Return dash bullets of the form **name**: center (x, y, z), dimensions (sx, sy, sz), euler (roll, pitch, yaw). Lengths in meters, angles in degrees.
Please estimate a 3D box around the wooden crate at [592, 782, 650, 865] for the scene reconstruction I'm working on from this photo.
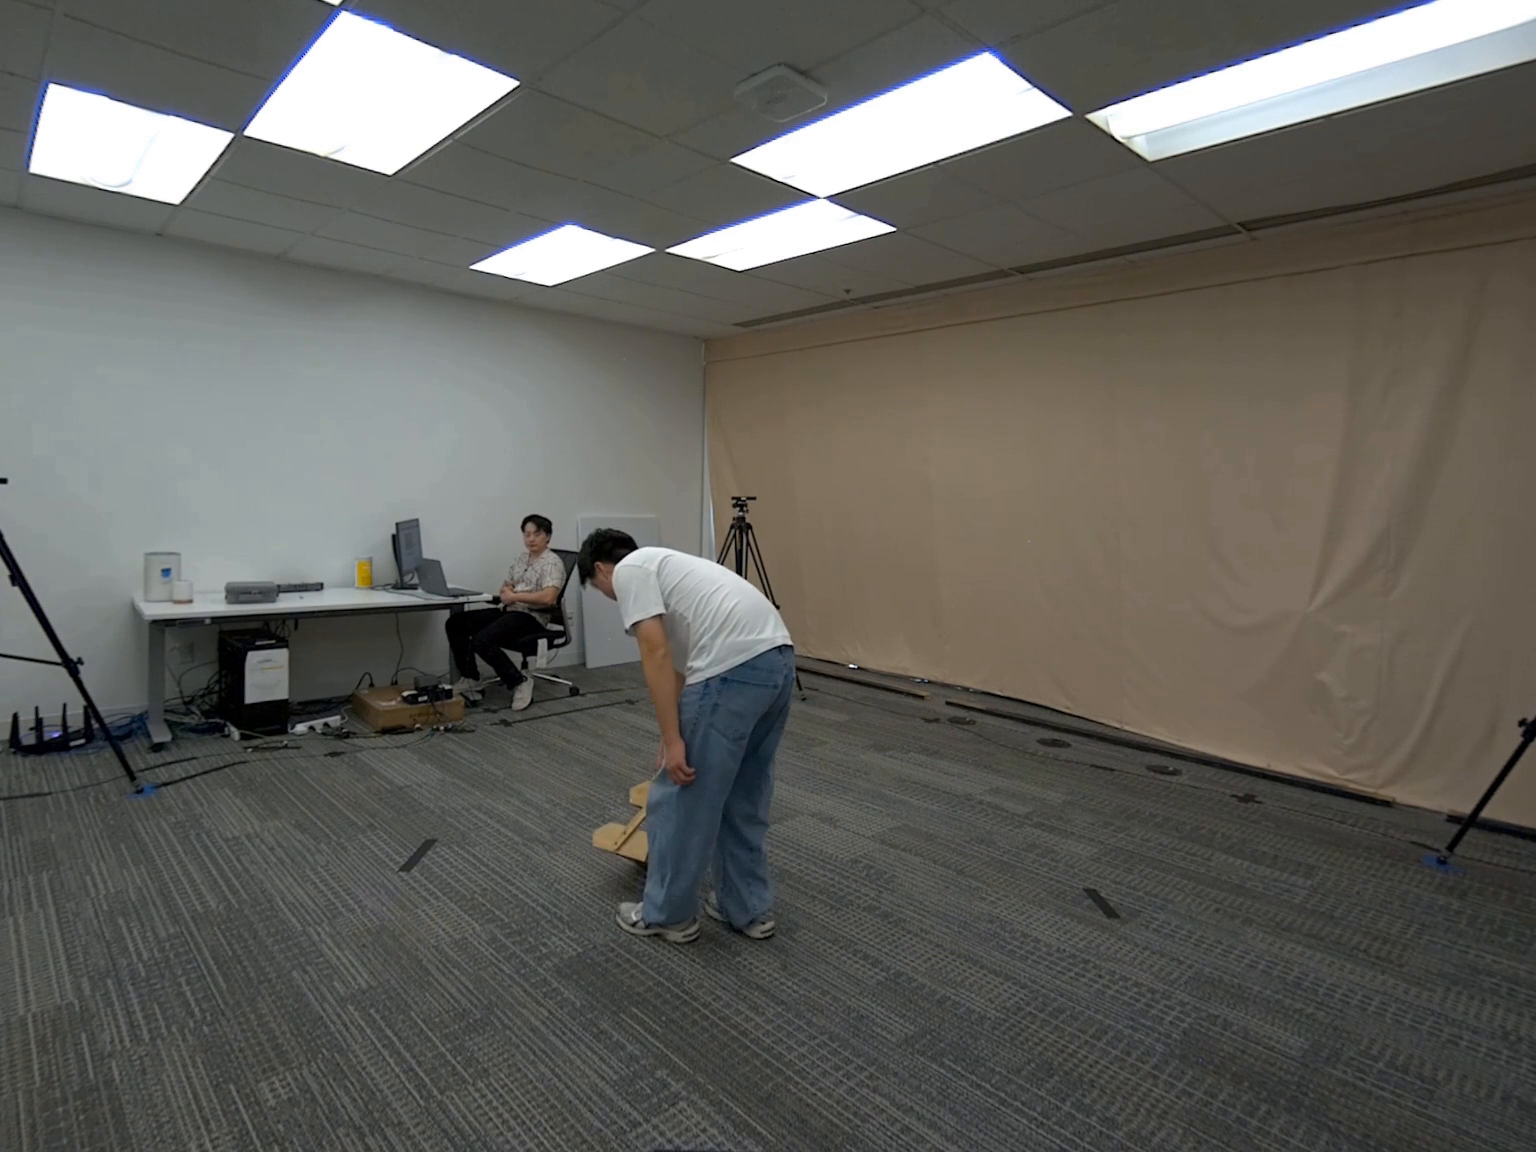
- **wooden crate**: center (-0.414, 0.914, 3.065), dimensions (0.308, 0.276, 0.314), euler (4, -26, 29)
